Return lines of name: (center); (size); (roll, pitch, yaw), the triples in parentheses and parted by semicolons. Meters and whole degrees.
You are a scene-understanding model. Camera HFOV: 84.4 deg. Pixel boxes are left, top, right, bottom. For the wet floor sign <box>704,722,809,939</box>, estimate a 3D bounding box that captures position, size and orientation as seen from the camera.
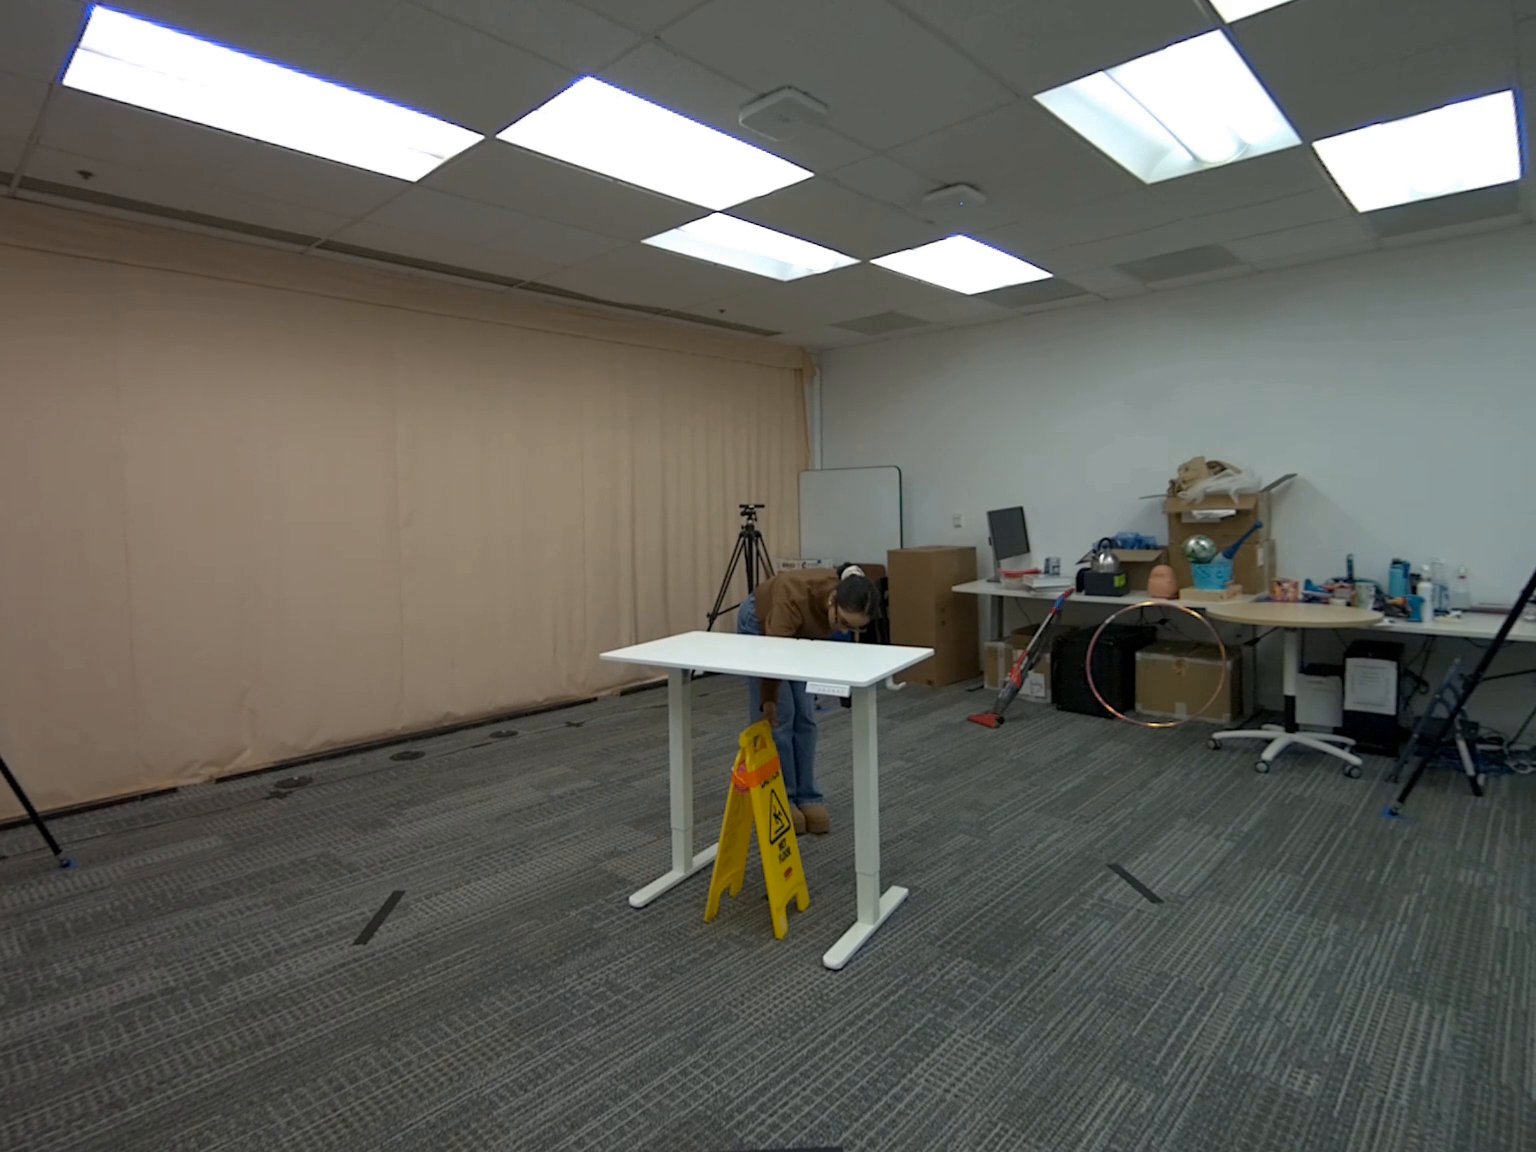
wet floor sign: (-0.042, 0.826, 2.853); (0.297, 0.645, 0.276); (0, 3, 25)
